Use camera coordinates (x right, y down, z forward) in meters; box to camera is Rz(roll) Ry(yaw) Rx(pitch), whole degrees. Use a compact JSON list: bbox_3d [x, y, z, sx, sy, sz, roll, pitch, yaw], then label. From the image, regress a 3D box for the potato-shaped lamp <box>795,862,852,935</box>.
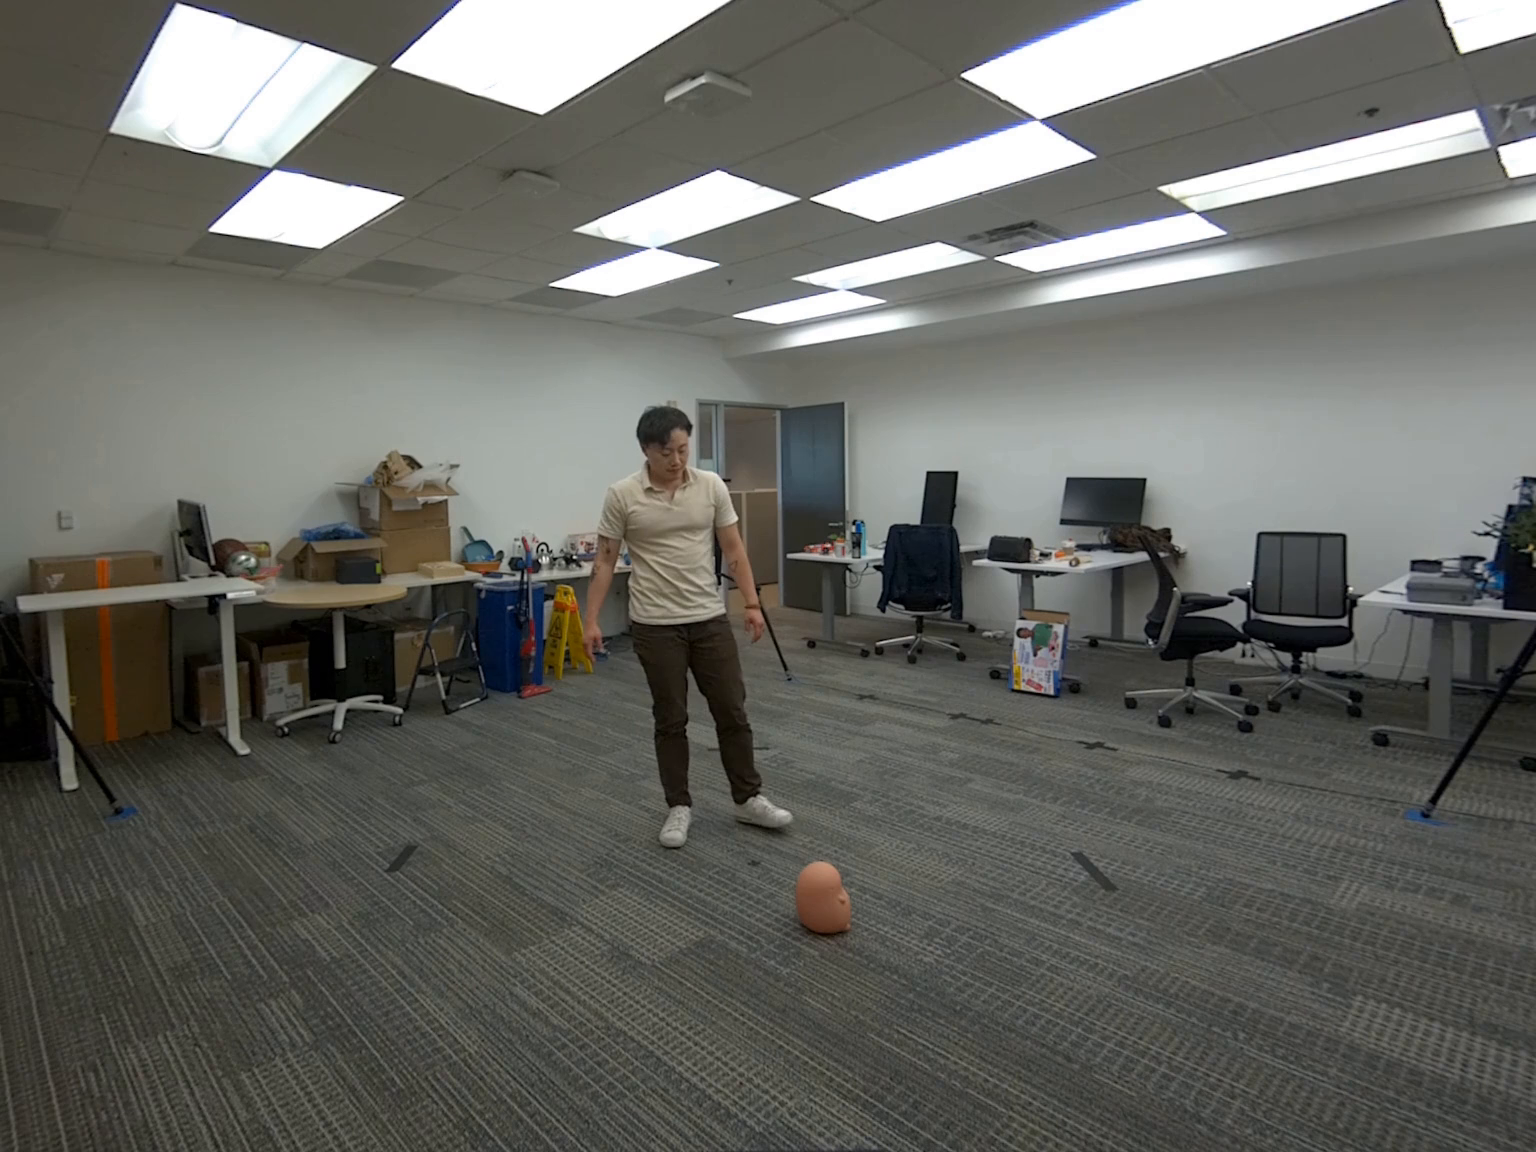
[{"bbox_3d":[0.179,0.990,2.656,0.171,0.197,0.166,-2,6,-5],"label":"potato-shaped lamp"}]
